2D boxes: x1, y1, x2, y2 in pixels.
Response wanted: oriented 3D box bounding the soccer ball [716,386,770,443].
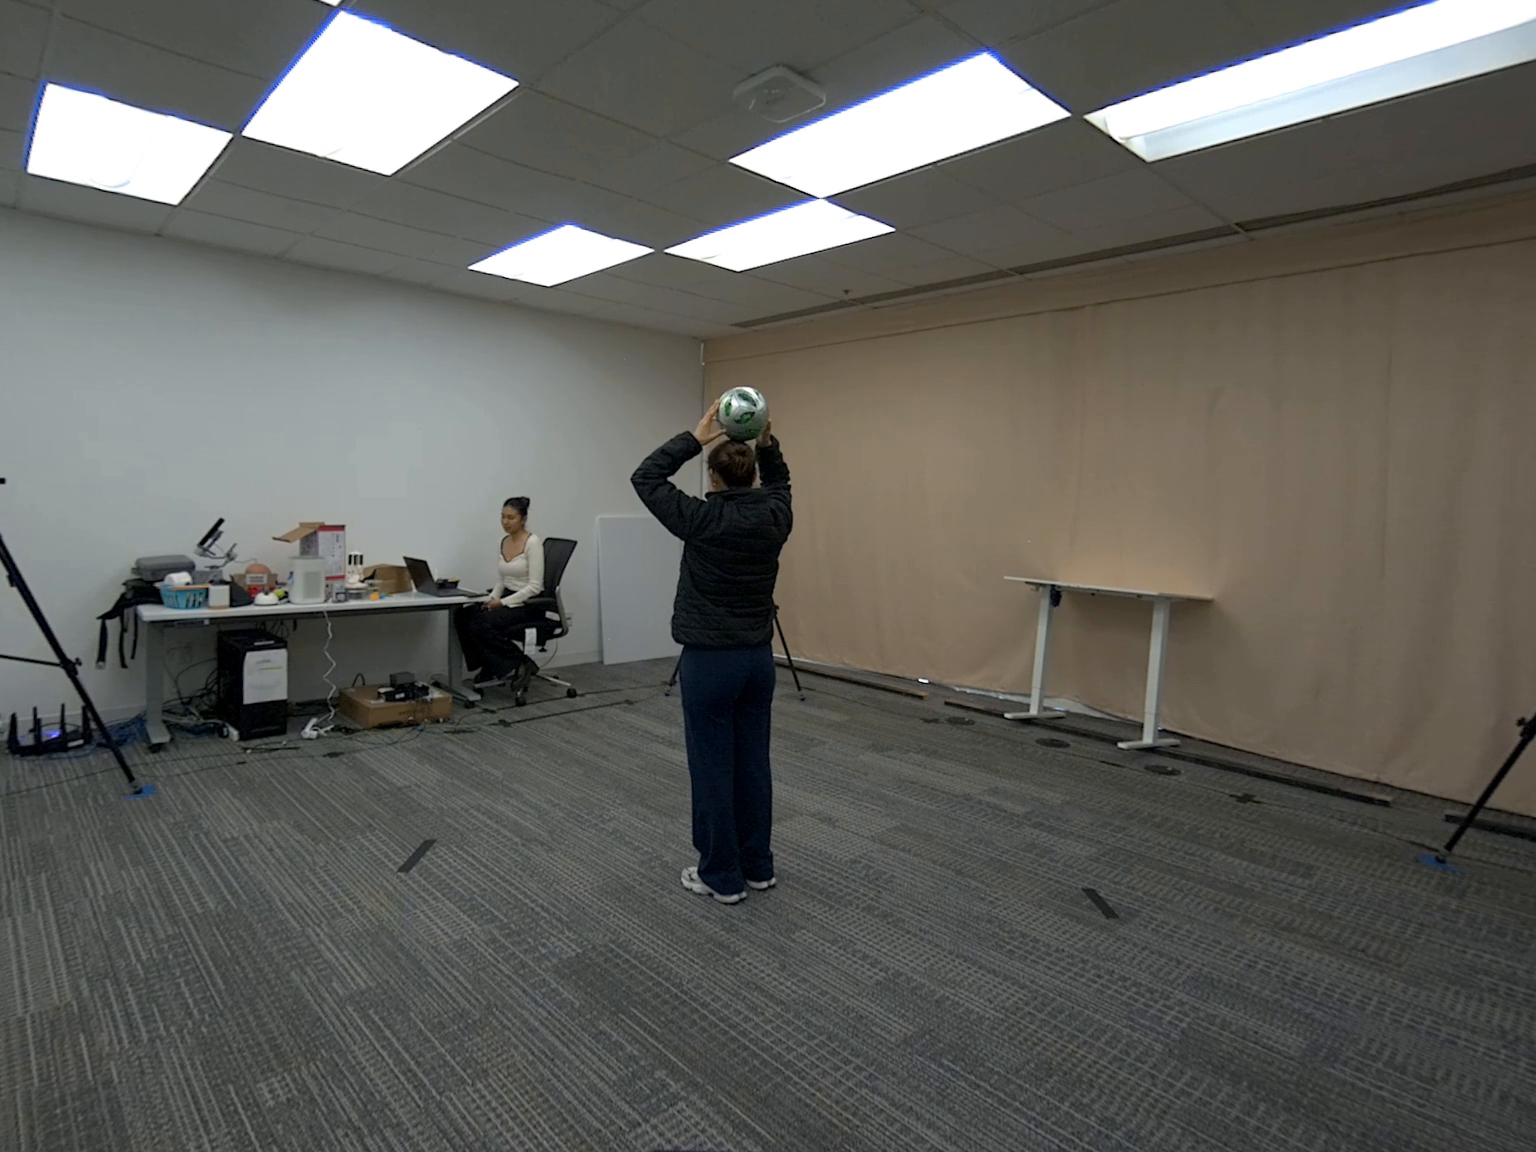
[{"bbox_3d":[-0.098,-0.558,2.902,0.187,0.187,0.188,1,4,-1],"label":"soccer ball"}]
